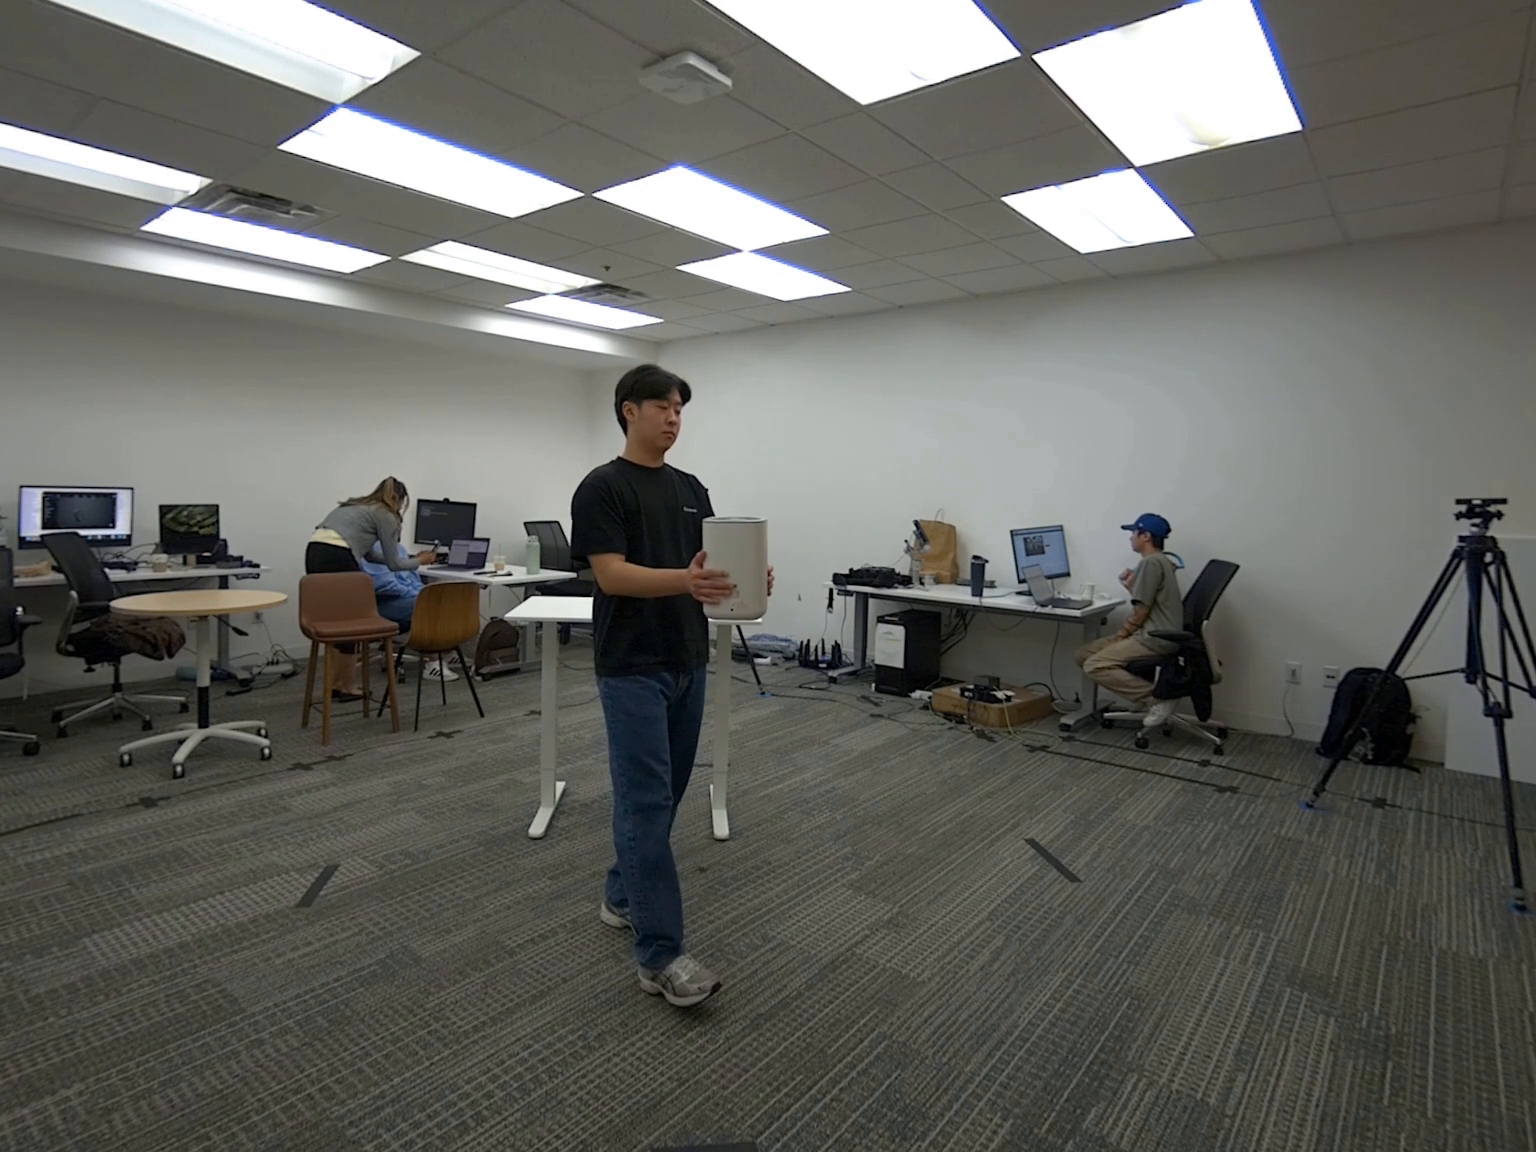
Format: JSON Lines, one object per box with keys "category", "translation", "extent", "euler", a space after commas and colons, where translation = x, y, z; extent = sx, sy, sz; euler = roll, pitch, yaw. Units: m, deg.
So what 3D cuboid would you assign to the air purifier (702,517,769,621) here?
{"category": "air purifier", "translation": [-0.092, -0.024, 2.282], "extent": [0.172, 0.264, 0.172], "euler": [3, 6, 3]}
